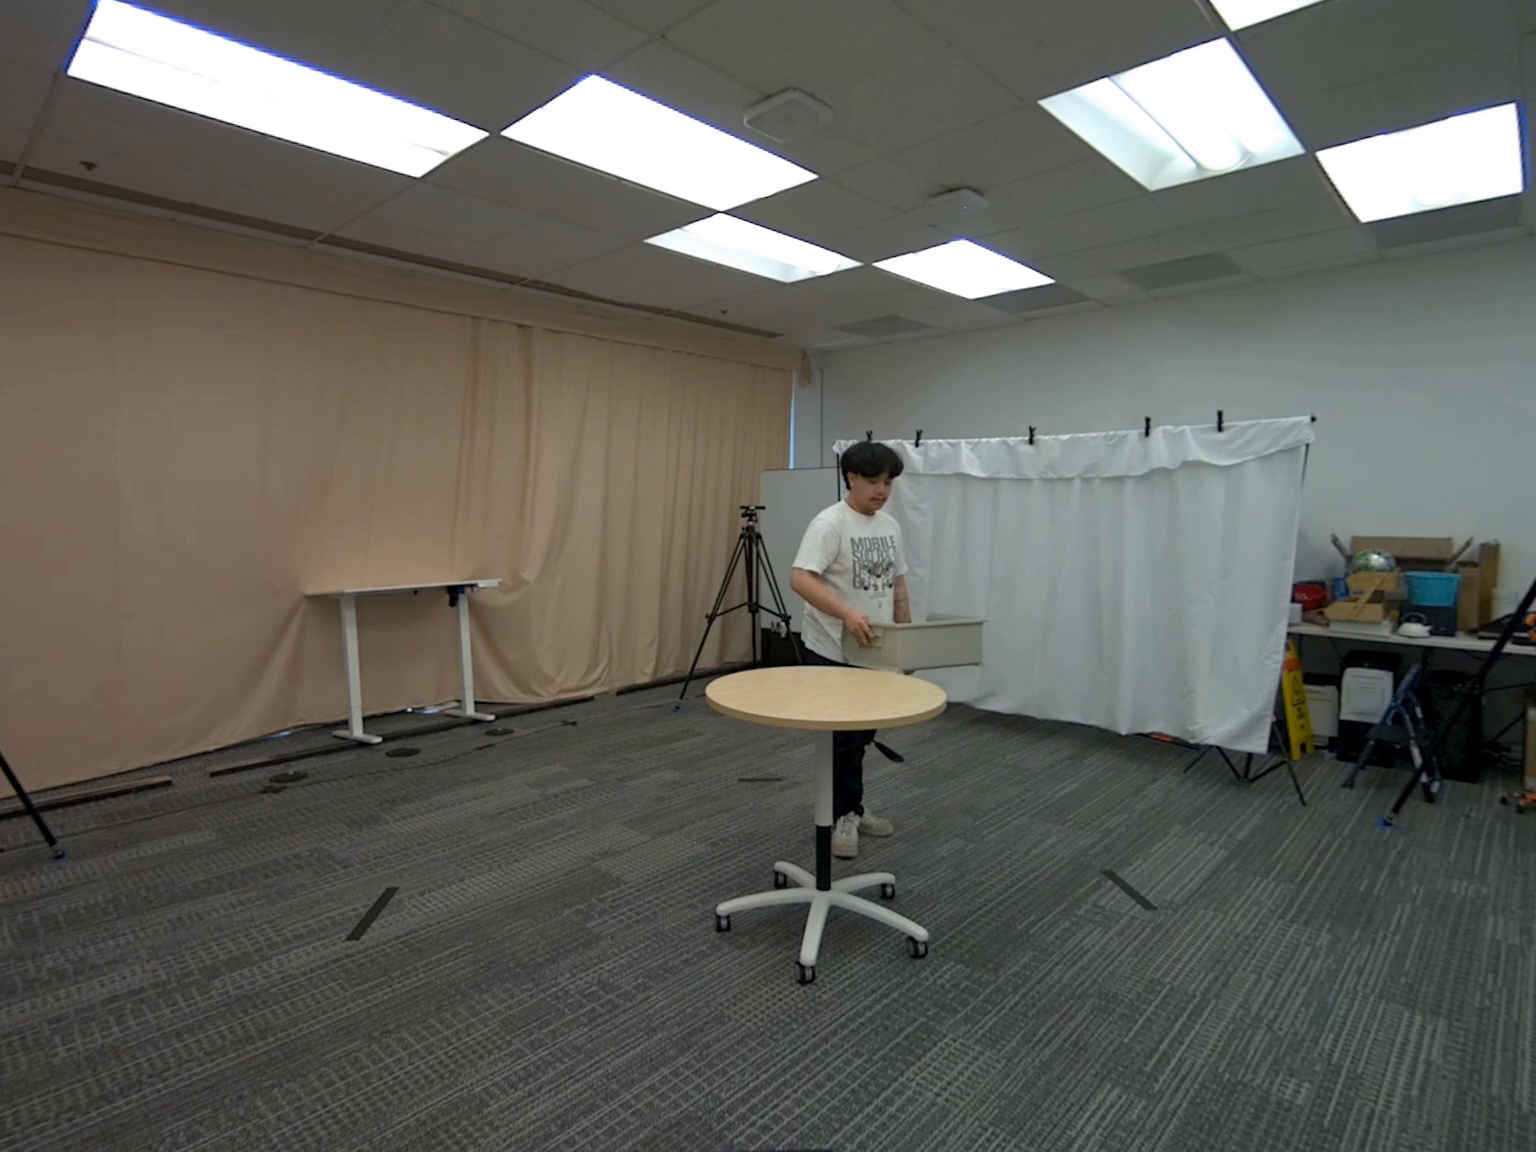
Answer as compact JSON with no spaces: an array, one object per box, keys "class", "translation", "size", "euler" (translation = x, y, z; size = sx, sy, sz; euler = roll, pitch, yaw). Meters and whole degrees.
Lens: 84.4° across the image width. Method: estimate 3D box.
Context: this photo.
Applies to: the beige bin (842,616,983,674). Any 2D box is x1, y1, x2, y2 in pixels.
[{"class":"beige bin","translation":[0.564,0.249,3.260],"size":[0.412,0.188,0.387],"euler":[-3,4,-26]}]
